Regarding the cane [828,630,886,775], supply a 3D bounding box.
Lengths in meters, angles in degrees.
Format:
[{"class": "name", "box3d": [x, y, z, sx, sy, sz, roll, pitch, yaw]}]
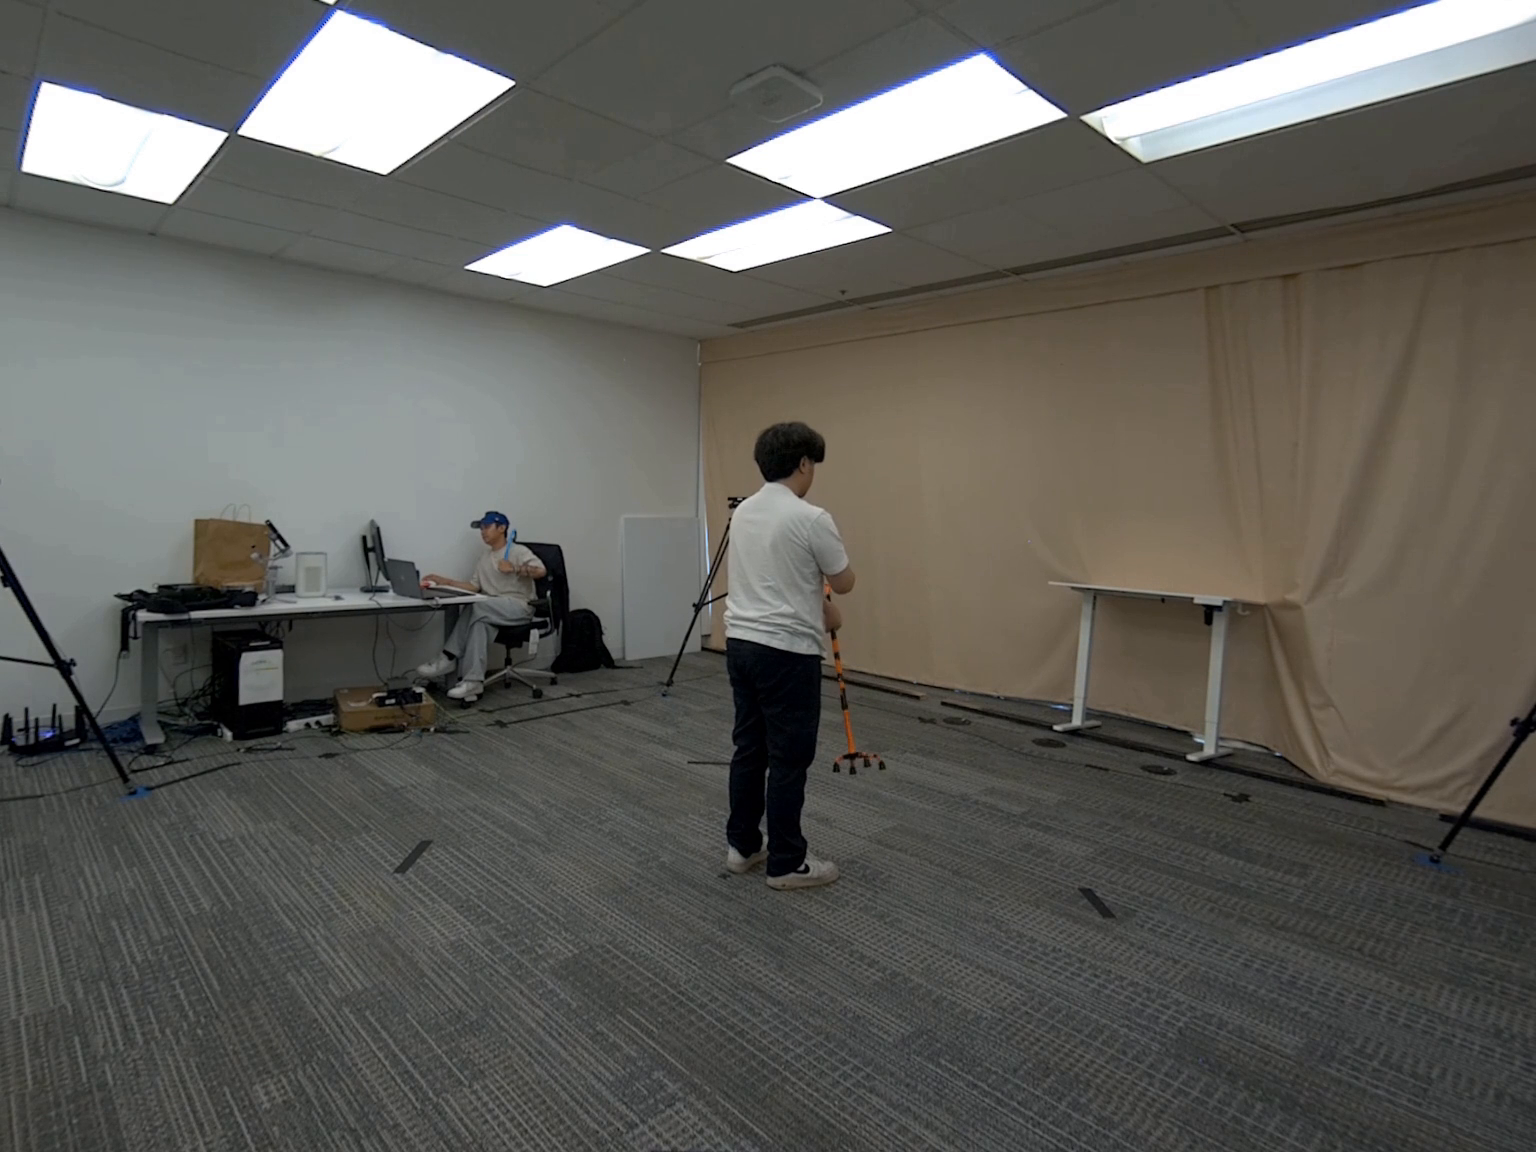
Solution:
[{"class": "cane", "box3d": [0.287, 0.321, 3.377, 0.153, 0.923, 0.201, -16, -23, 20]}]
